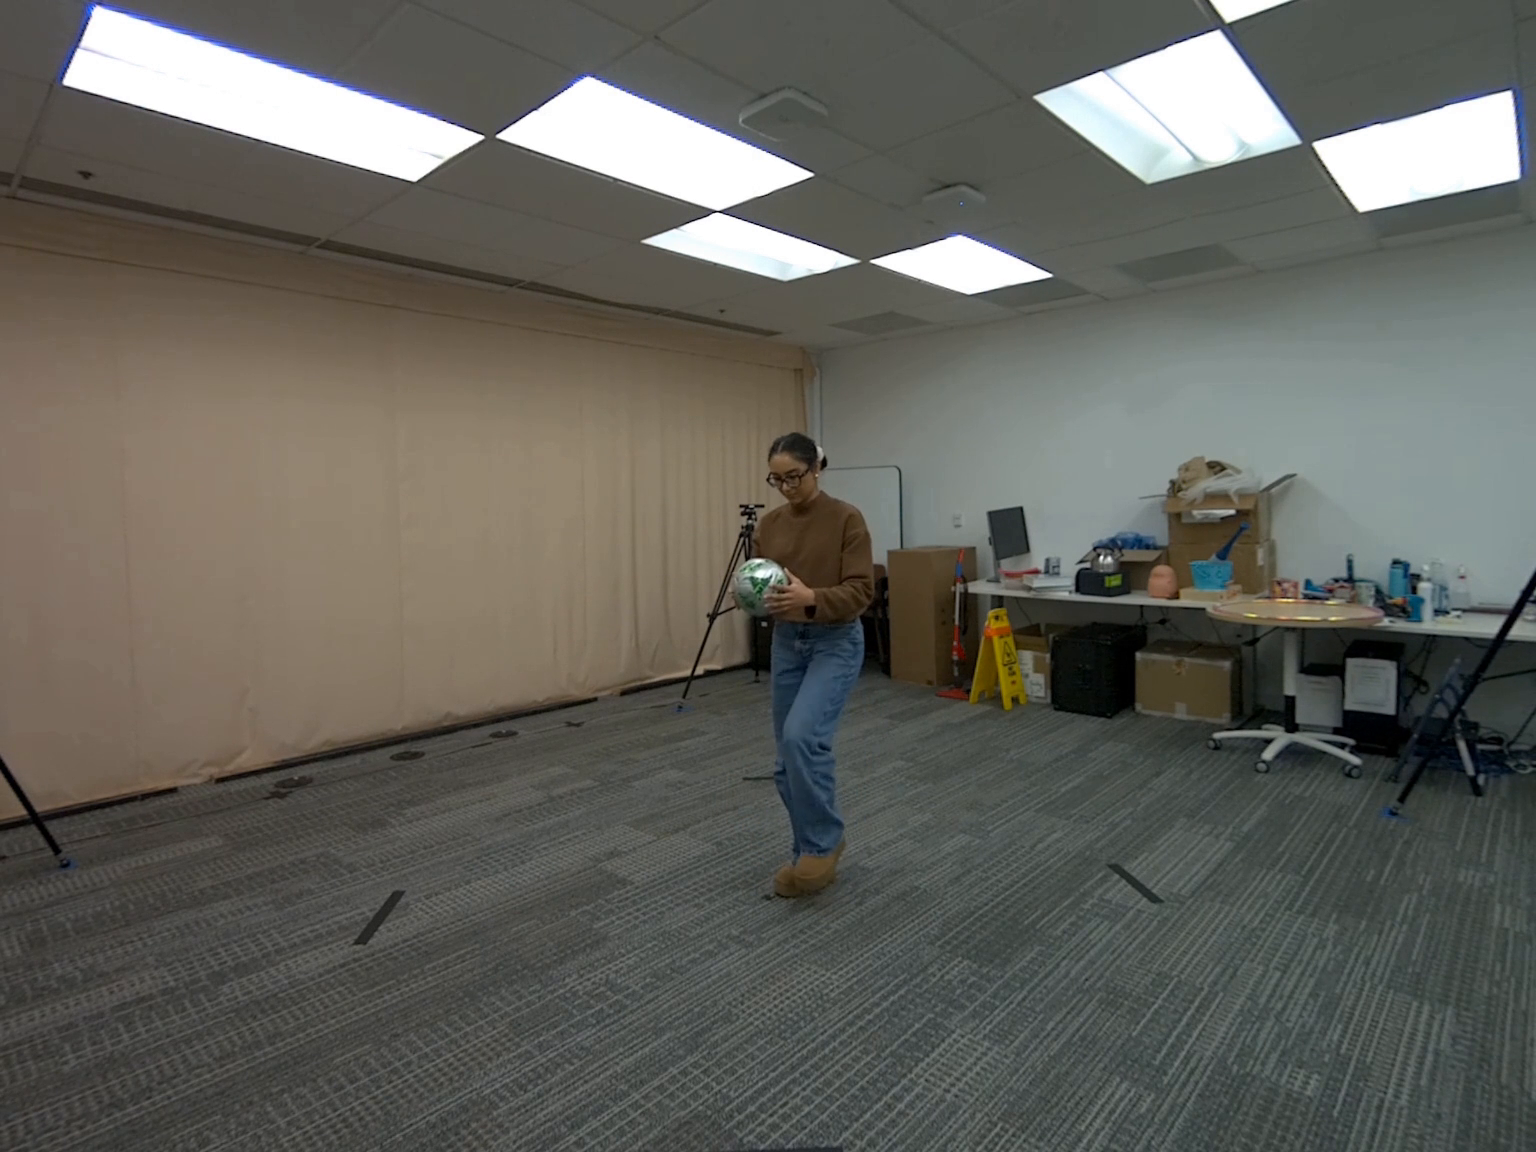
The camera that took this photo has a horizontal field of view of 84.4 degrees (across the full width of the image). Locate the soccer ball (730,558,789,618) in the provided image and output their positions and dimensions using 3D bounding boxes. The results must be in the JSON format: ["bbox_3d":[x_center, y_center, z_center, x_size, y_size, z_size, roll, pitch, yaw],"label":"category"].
[{"bbox_3d":[-0.018,0.038,2.724,0.187,0.187,0.188,-1,4,-2],"label":"soccer ball"}]
